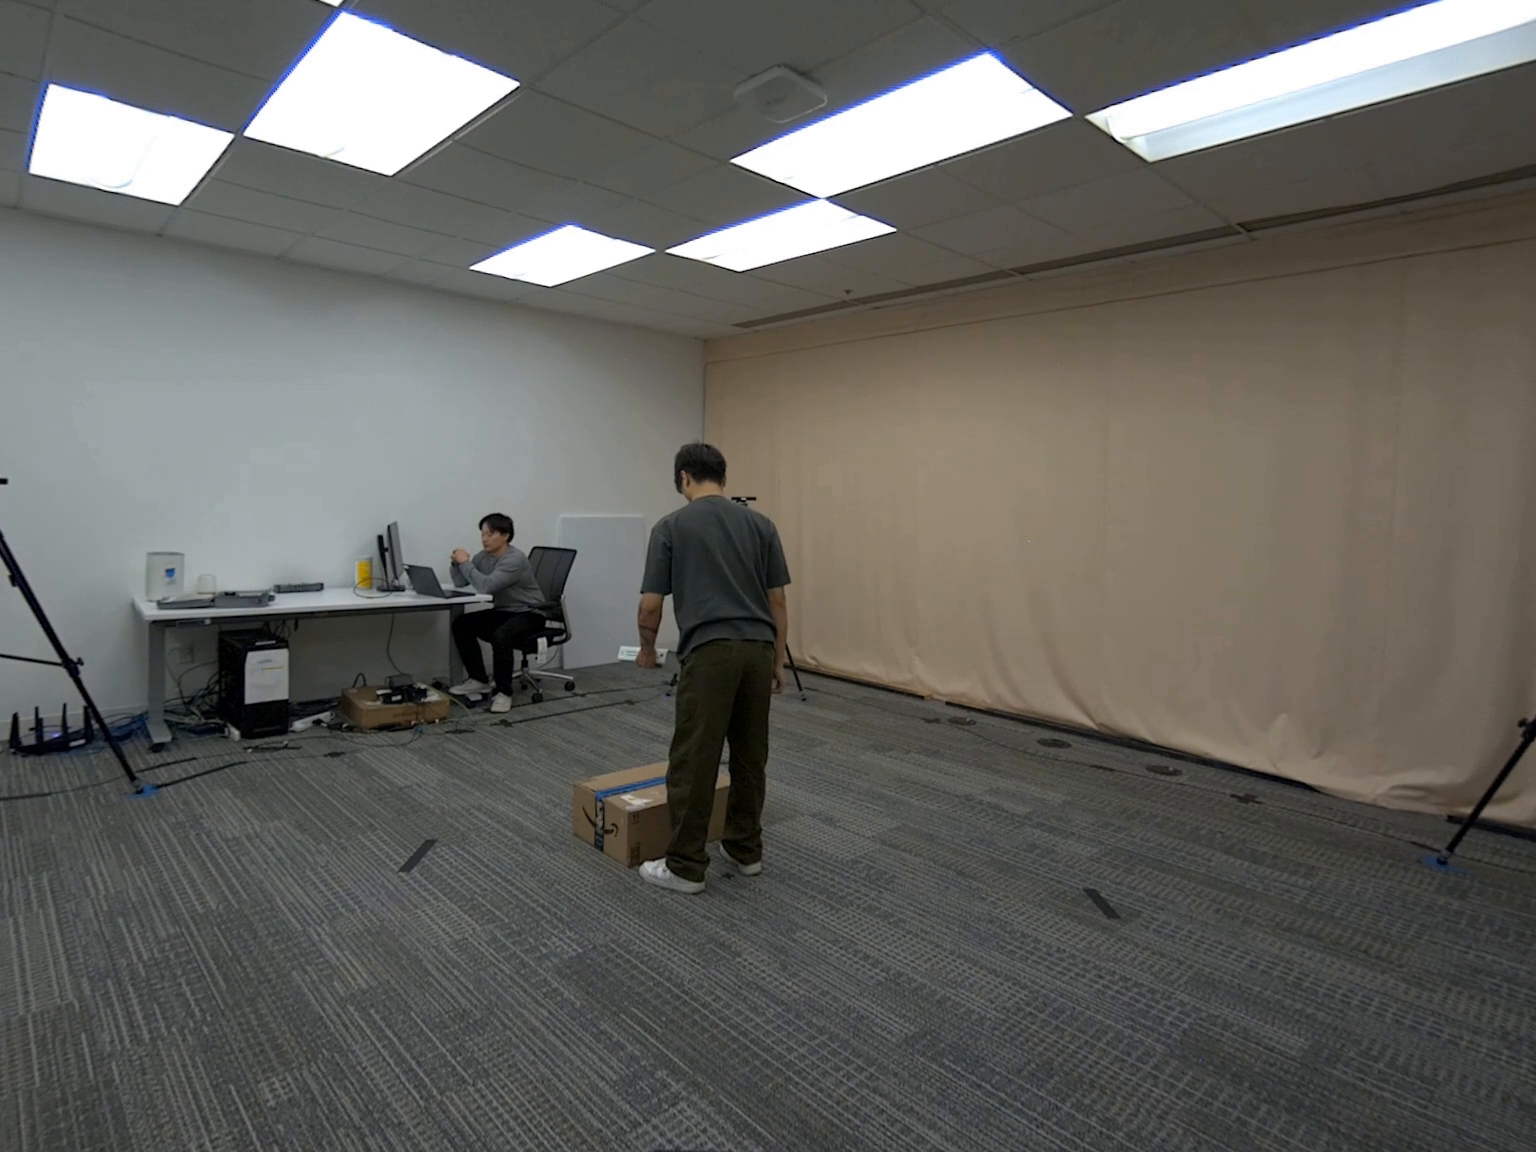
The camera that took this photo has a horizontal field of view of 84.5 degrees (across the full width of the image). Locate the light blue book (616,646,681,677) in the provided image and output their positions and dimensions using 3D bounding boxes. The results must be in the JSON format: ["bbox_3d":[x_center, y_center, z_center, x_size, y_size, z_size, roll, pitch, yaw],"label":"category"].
[{"bbox_3d":[-0.435,0.336,3.319,0.267,0.059,0.185,1,-19,39],"label":"light blue book"}]
